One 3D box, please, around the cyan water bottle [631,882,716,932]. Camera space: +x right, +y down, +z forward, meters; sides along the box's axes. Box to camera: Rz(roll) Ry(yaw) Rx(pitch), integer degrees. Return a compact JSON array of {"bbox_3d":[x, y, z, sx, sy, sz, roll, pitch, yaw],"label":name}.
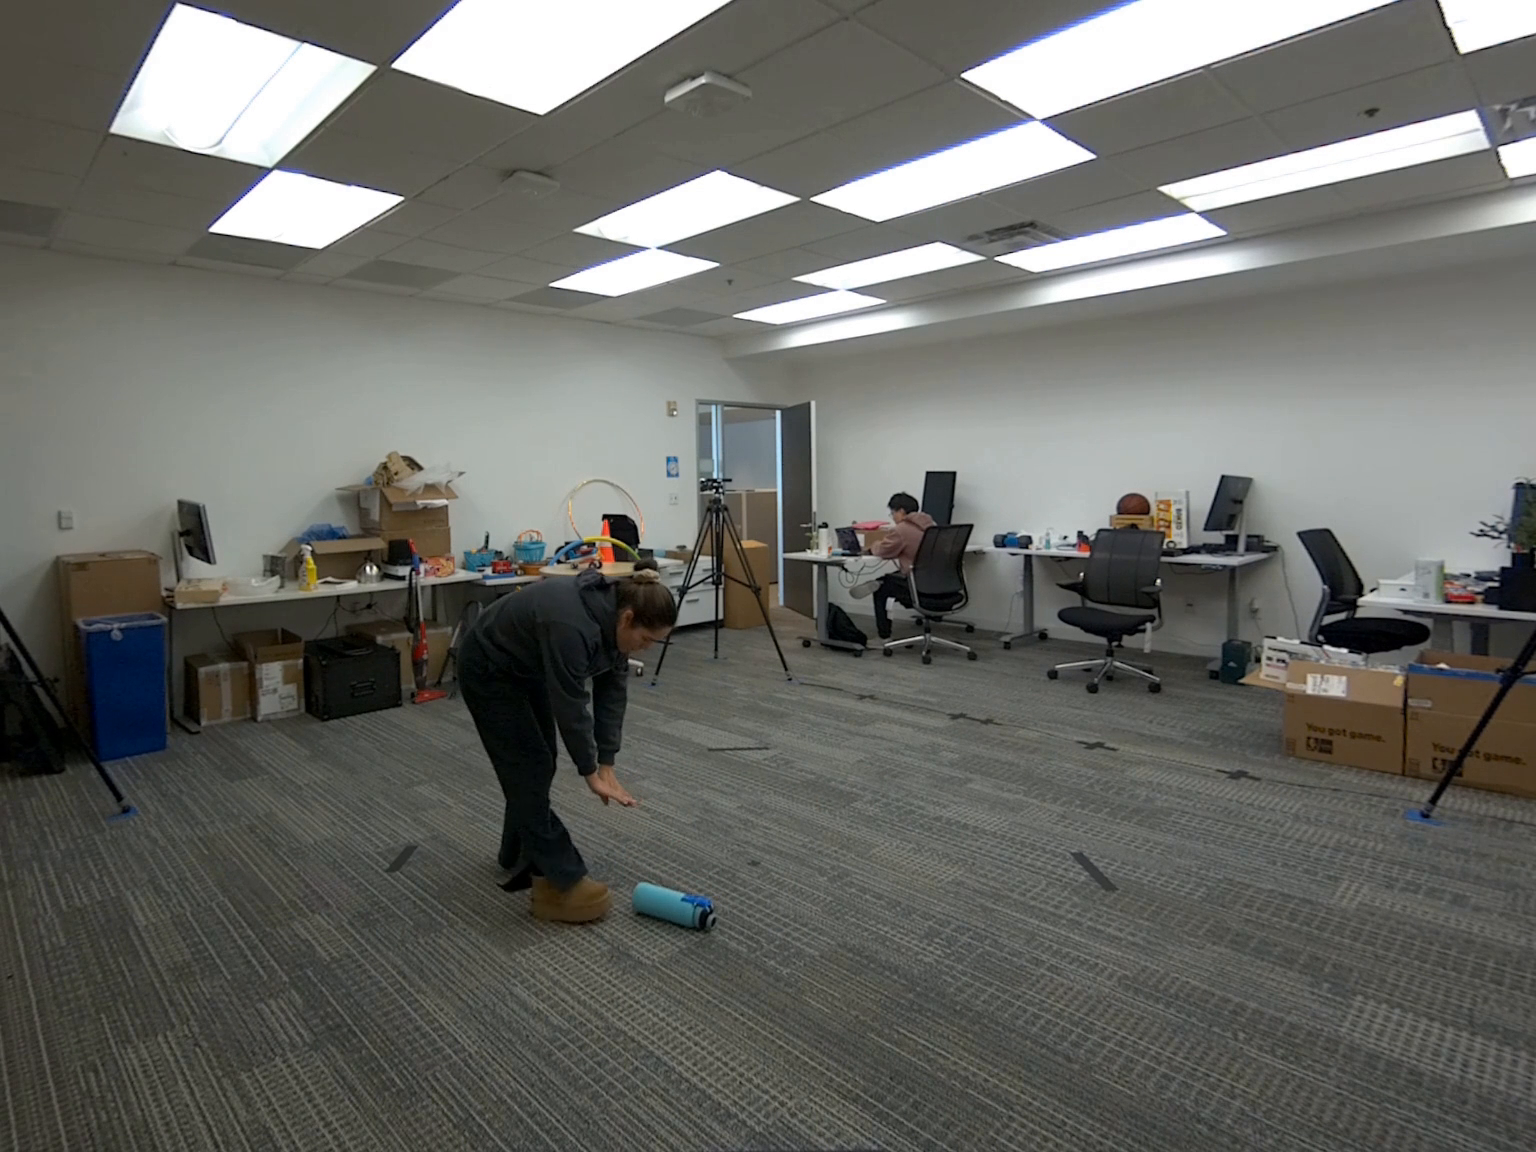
[{"bbox_3d":[-0.293,1.044,2.696,0.291,0.092,0.090,1,5,29],"label":"cyan water bottle"}]
